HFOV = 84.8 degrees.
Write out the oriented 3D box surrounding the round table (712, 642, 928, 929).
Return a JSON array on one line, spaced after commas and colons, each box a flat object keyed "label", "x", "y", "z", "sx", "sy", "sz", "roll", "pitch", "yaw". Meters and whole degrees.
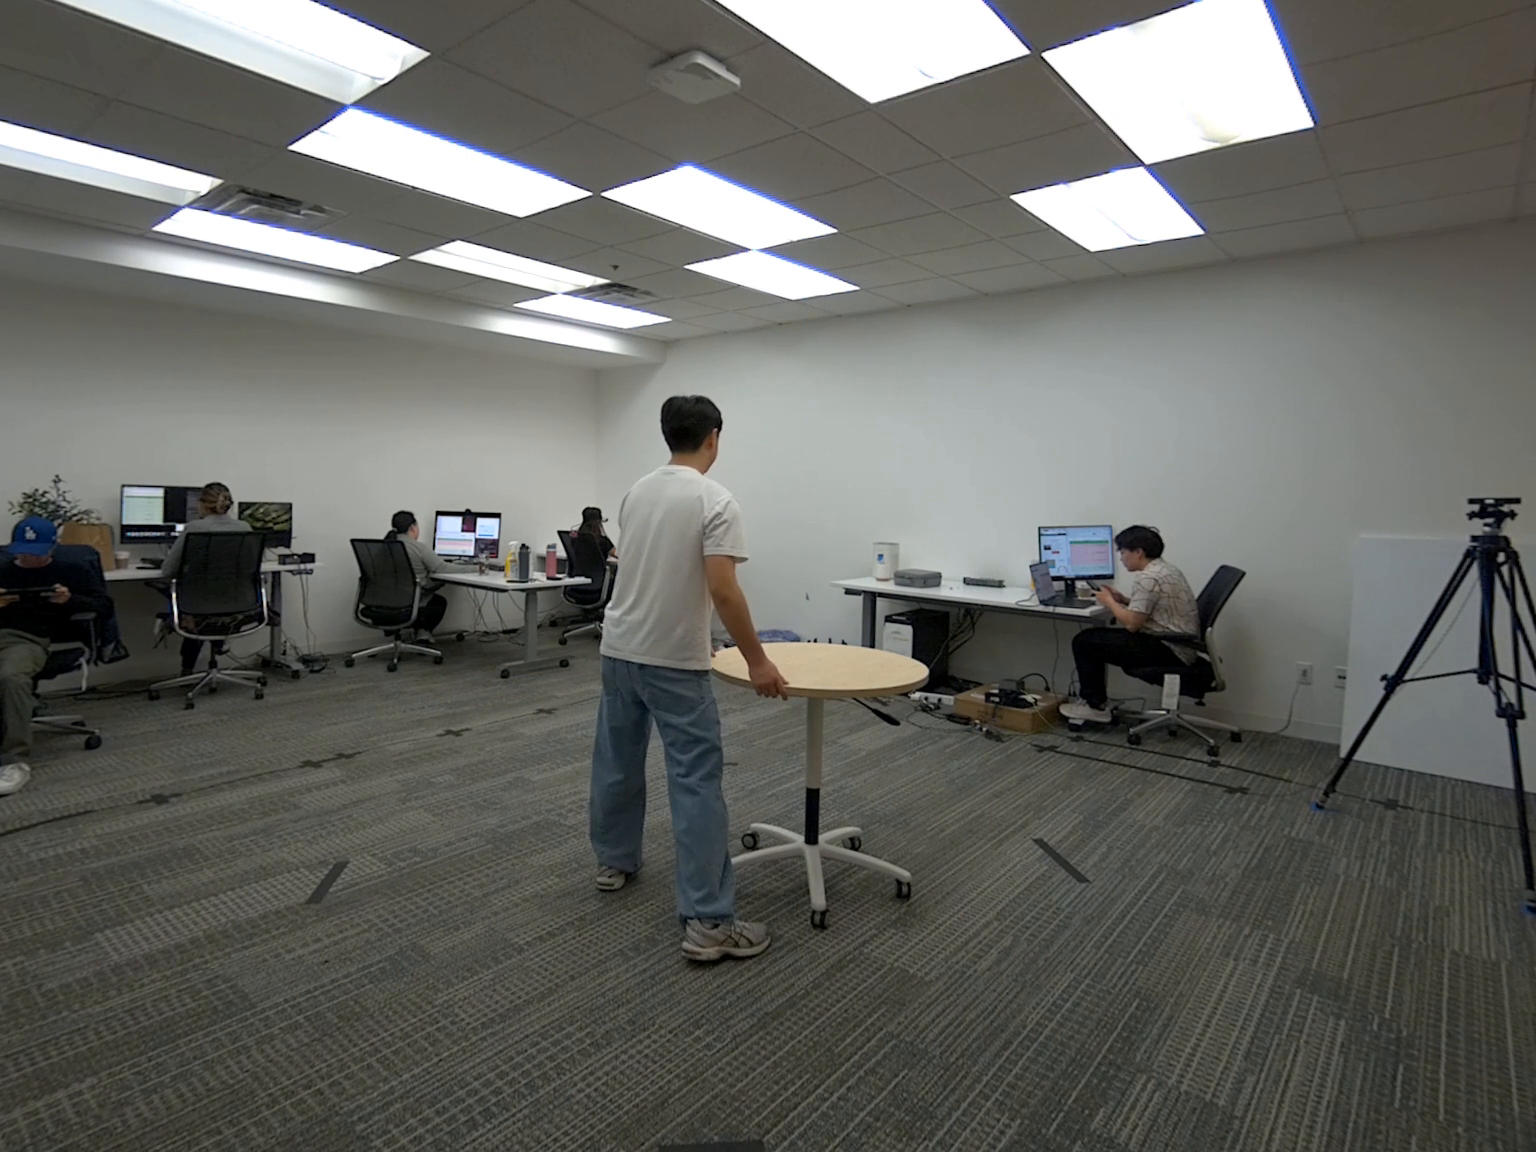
[{"label": "round table", "x": 0.149, "y": 0.697, "z": 3.006, "sx": 0.763, "sy": 0.791, "sz": 0.768, "roll": 1, "pitch": 5, "yaw": -2}]
